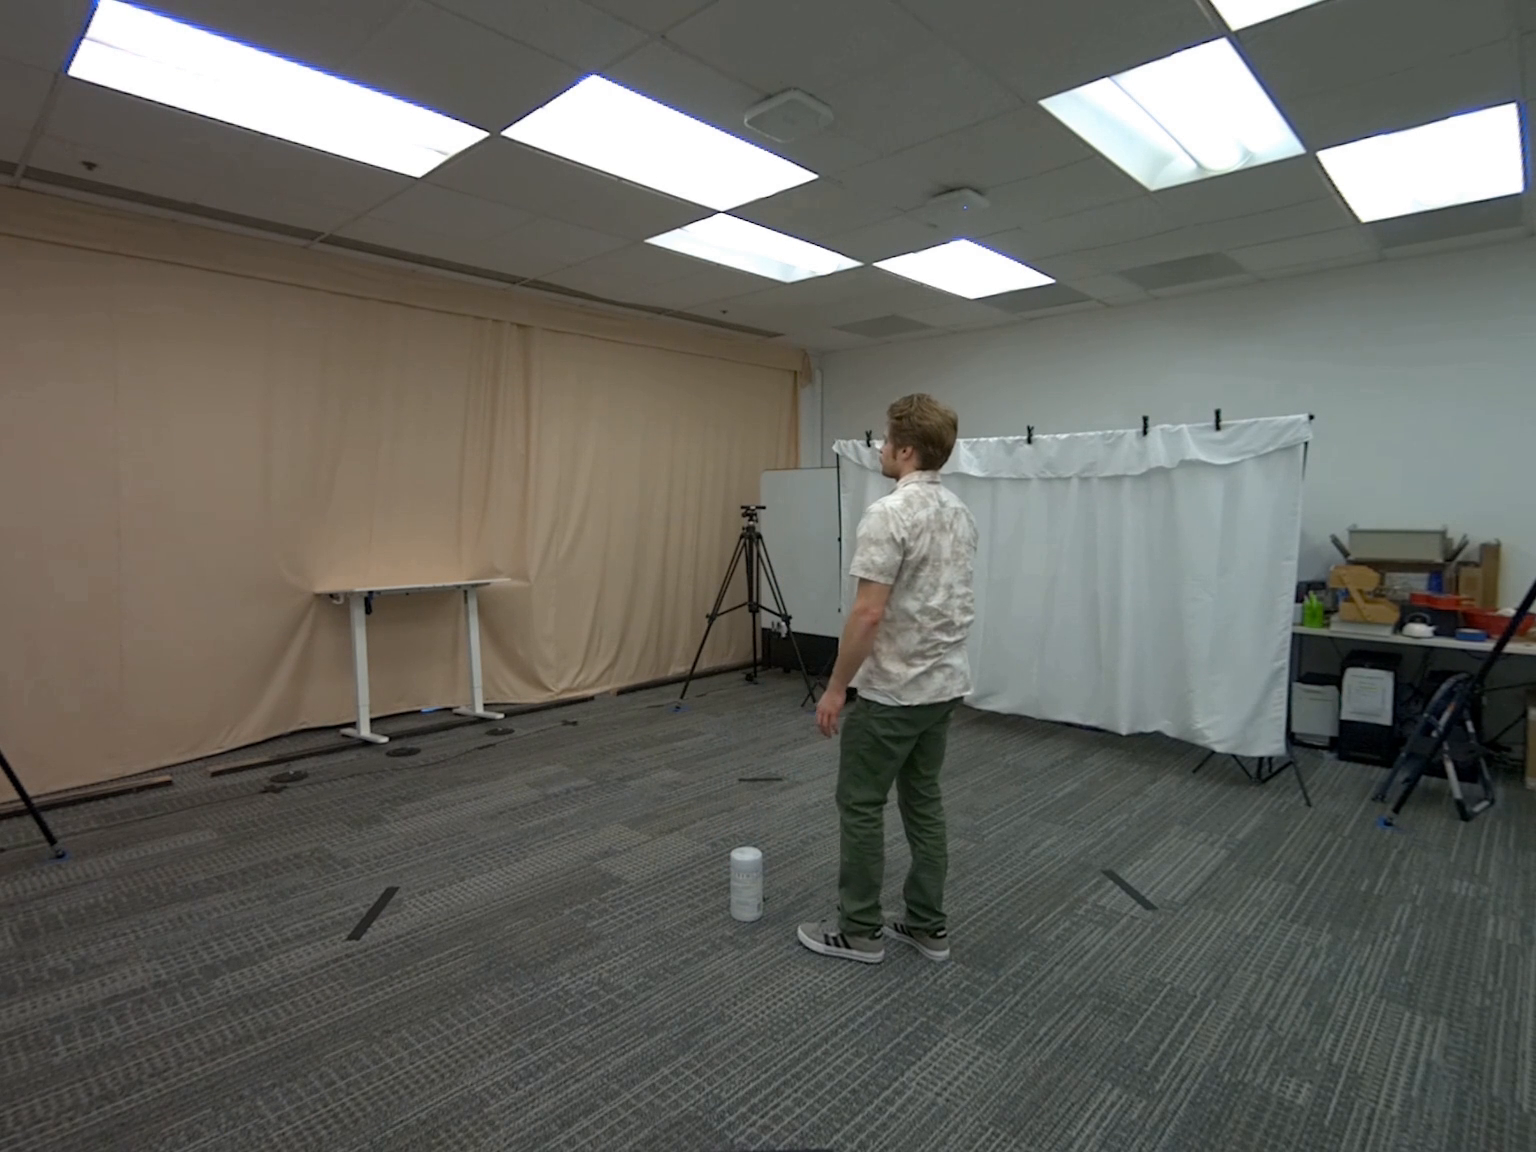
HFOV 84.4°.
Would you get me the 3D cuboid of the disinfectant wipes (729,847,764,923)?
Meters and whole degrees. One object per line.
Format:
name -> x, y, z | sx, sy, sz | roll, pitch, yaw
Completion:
disinfectant wipes -> -0.070, 1.049, 2.858 | 0.118, 0.217, 0.118 | -1, 3, -2
